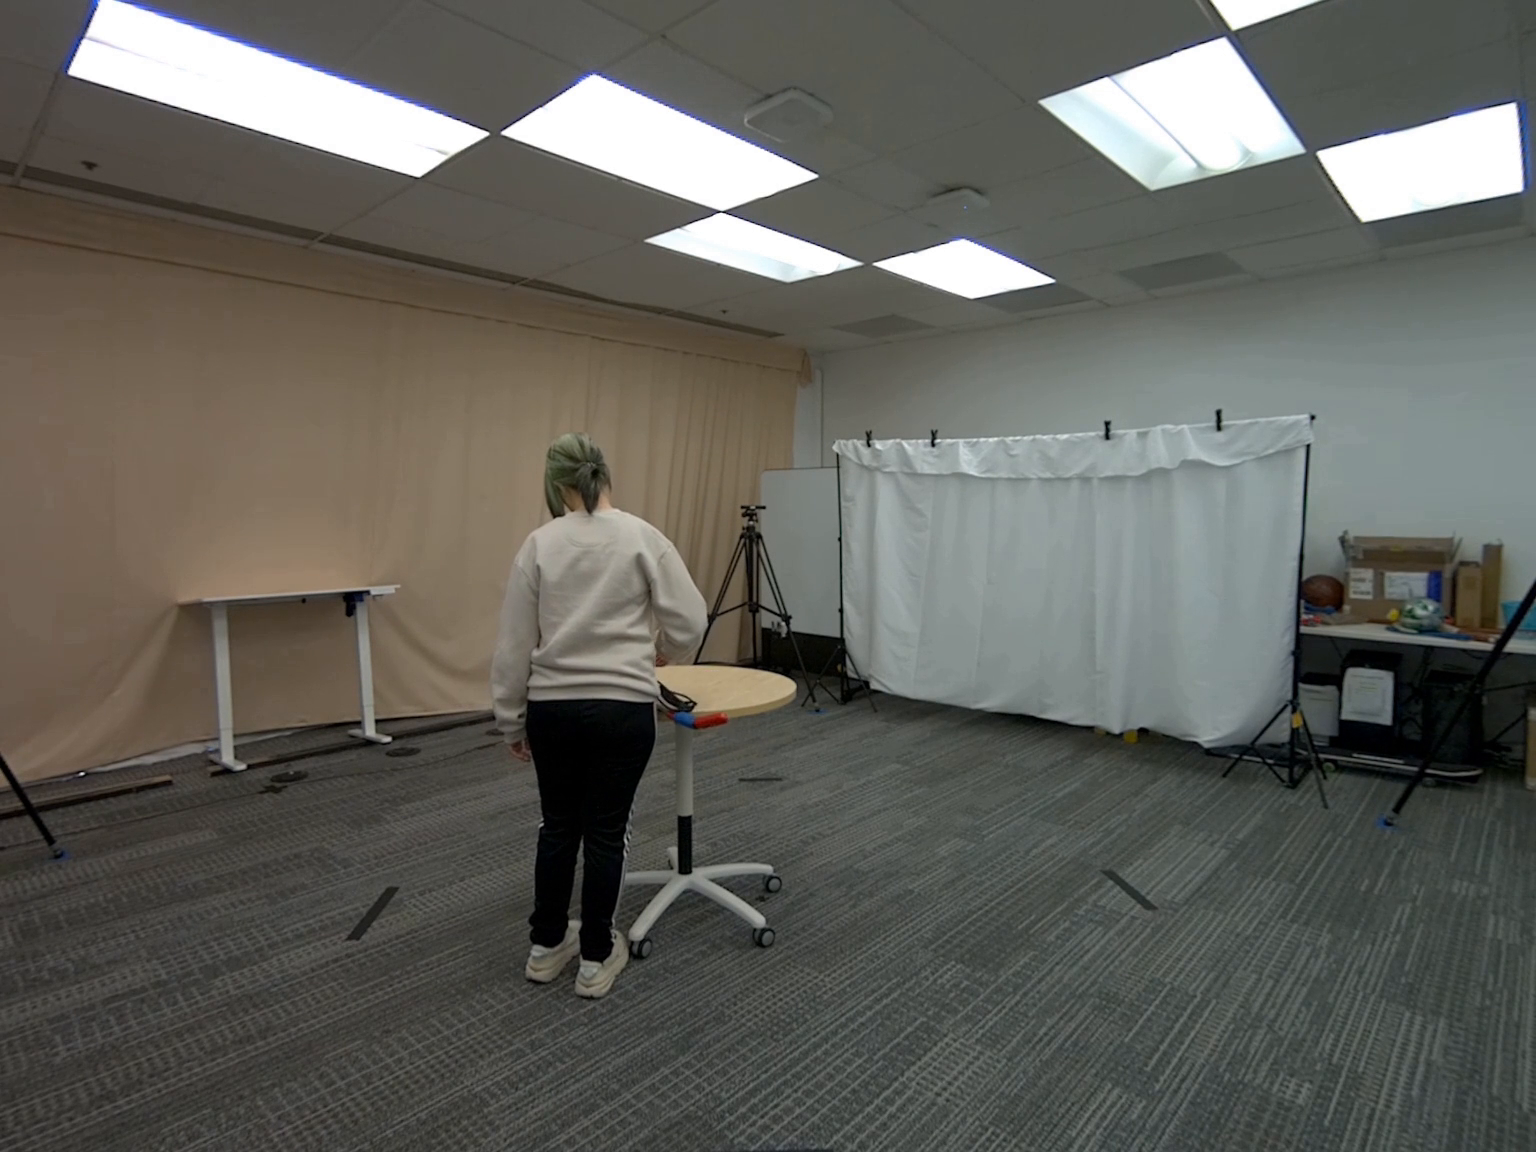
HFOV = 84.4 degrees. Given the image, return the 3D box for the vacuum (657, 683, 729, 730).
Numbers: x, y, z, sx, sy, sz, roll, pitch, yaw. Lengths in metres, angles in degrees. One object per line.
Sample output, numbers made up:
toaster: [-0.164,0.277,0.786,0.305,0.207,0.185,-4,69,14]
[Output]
vacuum: [-0.420,0.353,2.661,0.246,0.143,1.082,48,-20,-27]
